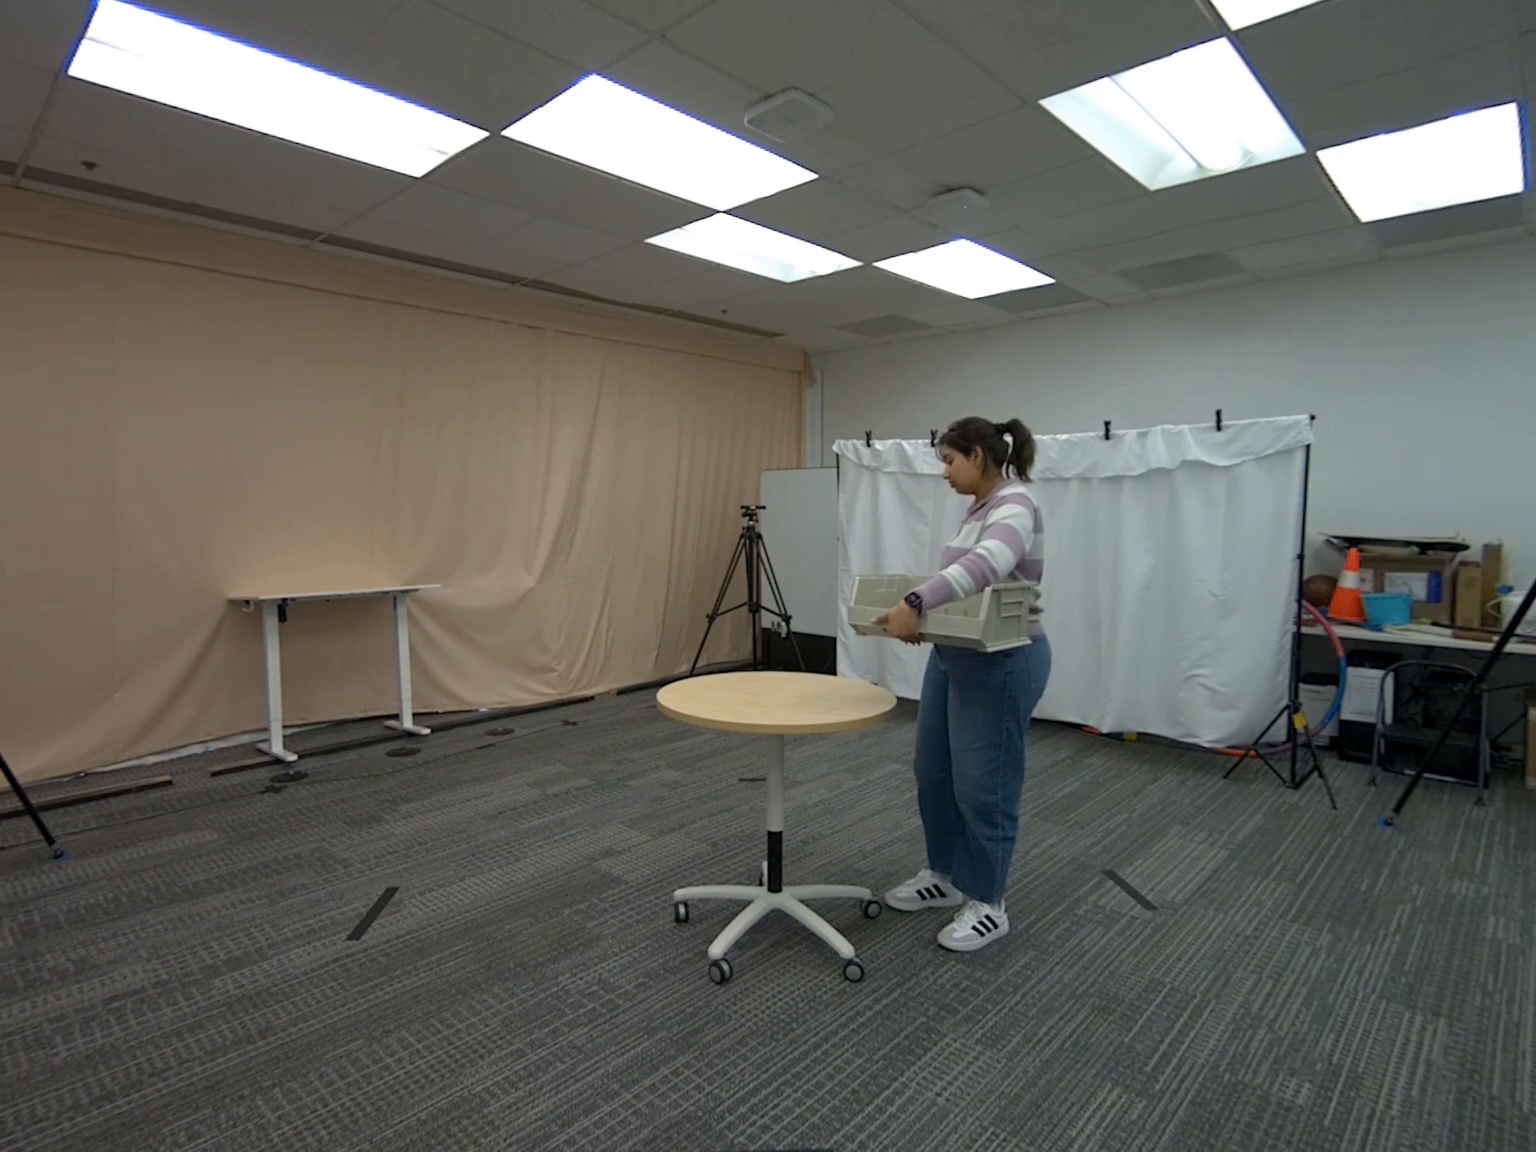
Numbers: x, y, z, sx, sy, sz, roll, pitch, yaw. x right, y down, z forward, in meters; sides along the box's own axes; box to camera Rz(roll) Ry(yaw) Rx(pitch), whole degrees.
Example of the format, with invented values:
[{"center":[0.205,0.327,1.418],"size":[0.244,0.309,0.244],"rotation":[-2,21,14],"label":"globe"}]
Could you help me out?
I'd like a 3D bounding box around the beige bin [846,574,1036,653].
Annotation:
[{"center":[0.507,0.092,2.459],"size":[0.436,0.189,0.365],"rotation":[2,0,39],"label":"beige bin"}]
